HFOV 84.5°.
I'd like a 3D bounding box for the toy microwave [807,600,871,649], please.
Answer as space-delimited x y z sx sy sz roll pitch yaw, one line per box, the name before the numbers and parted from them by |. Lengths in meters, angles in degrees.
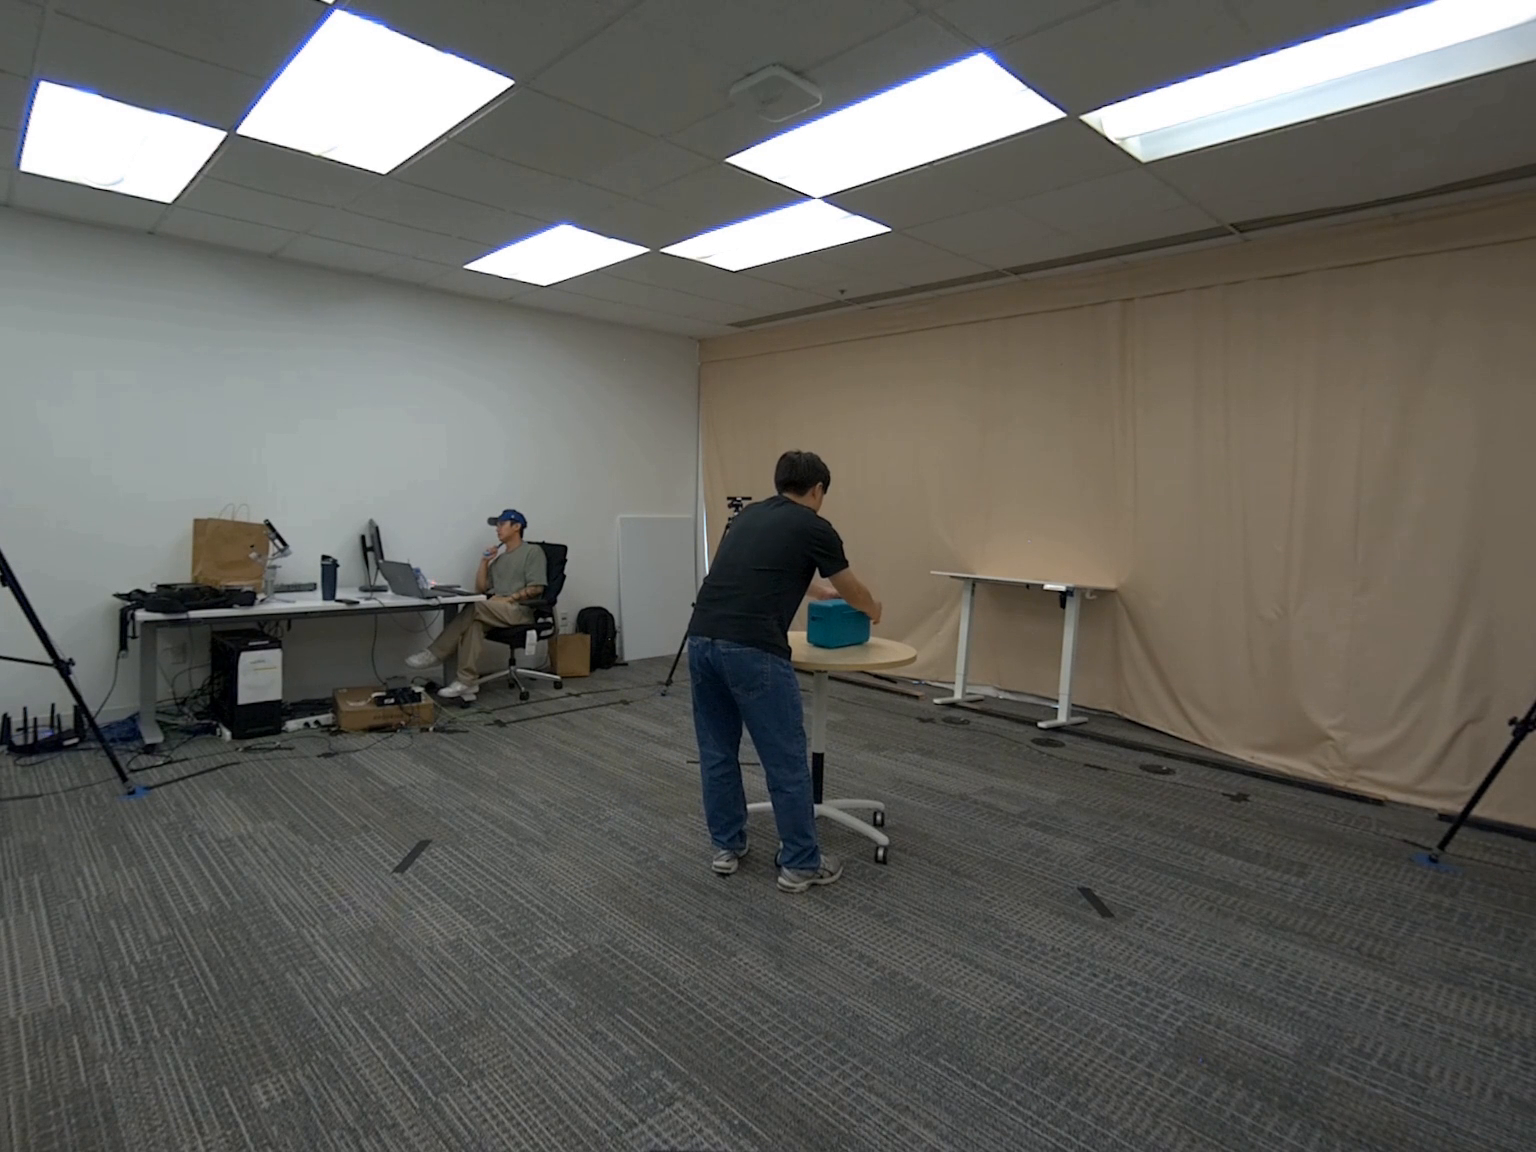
toy microwave | 0.288 0.197 3.520 0.156 0.183 0.280 5 6 43
